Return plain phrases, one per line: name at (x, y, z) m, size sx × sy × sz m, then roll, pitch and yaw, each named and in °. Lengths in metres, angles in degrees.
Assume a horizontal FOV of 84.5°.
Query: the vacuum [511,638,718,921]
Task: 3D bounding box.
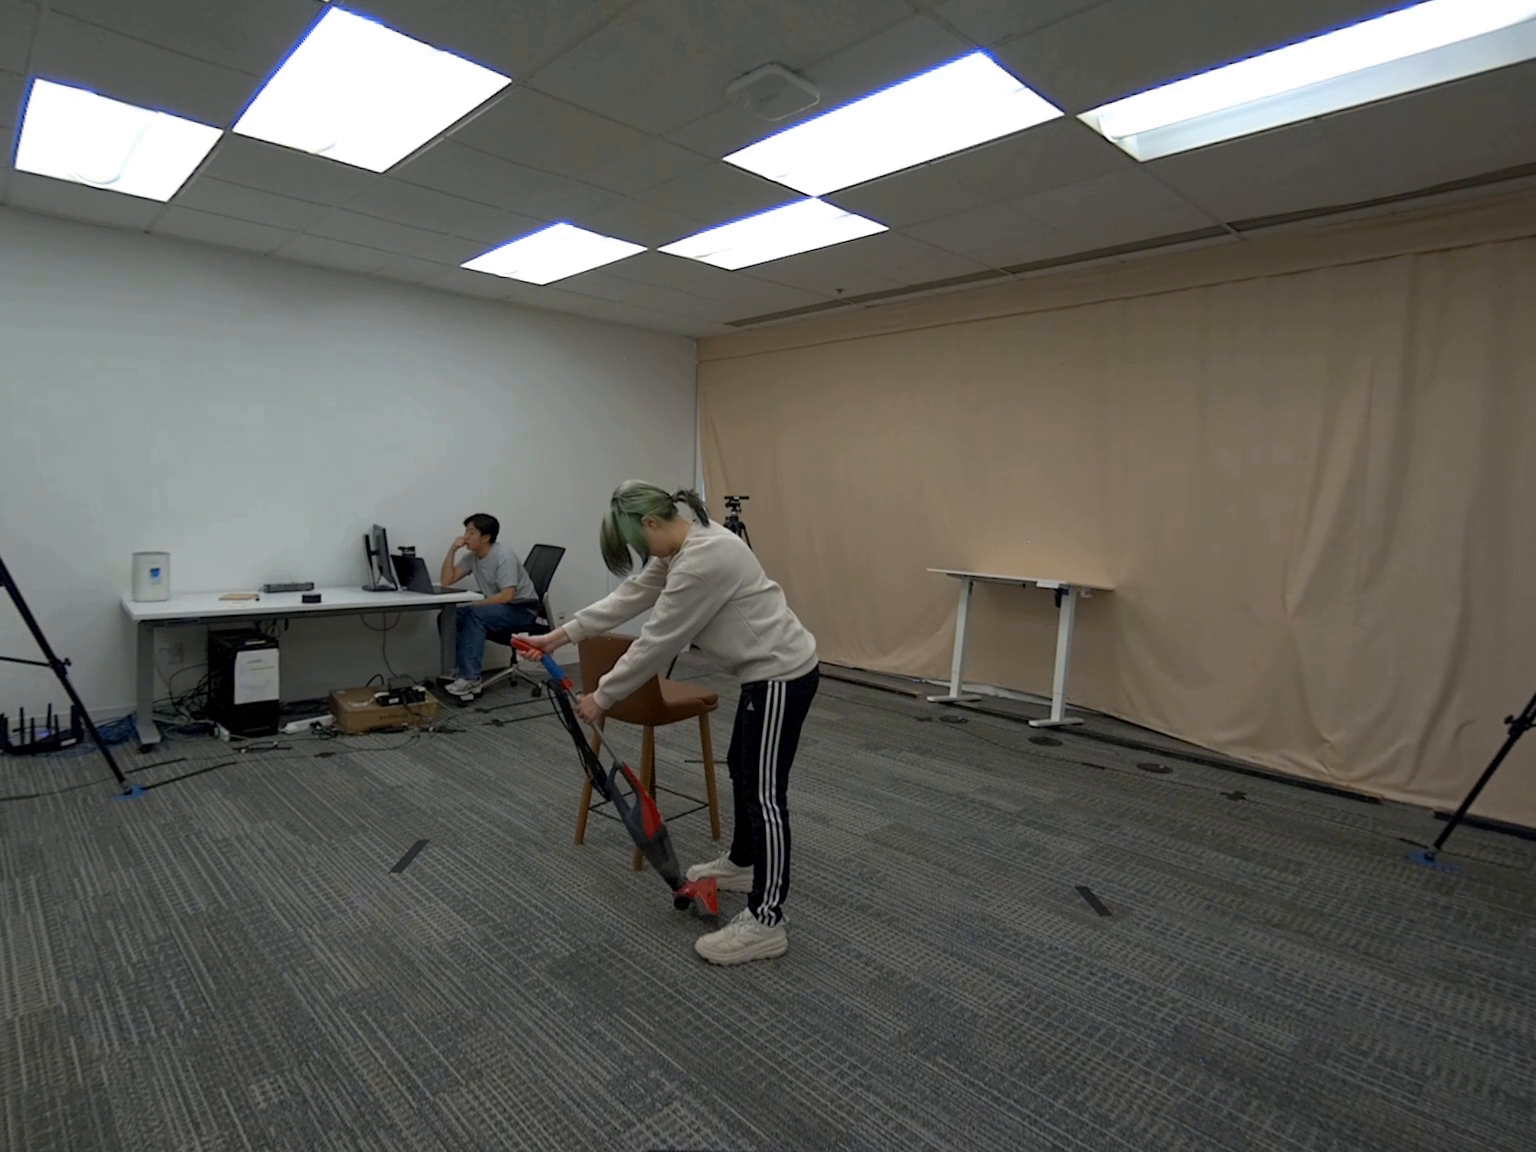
vacuum at (-0.523, 0.642, 2.756) m, size 0.144 × 1.042 × 0.255 m, roll -34°, pitch 7°, yaw -8°
